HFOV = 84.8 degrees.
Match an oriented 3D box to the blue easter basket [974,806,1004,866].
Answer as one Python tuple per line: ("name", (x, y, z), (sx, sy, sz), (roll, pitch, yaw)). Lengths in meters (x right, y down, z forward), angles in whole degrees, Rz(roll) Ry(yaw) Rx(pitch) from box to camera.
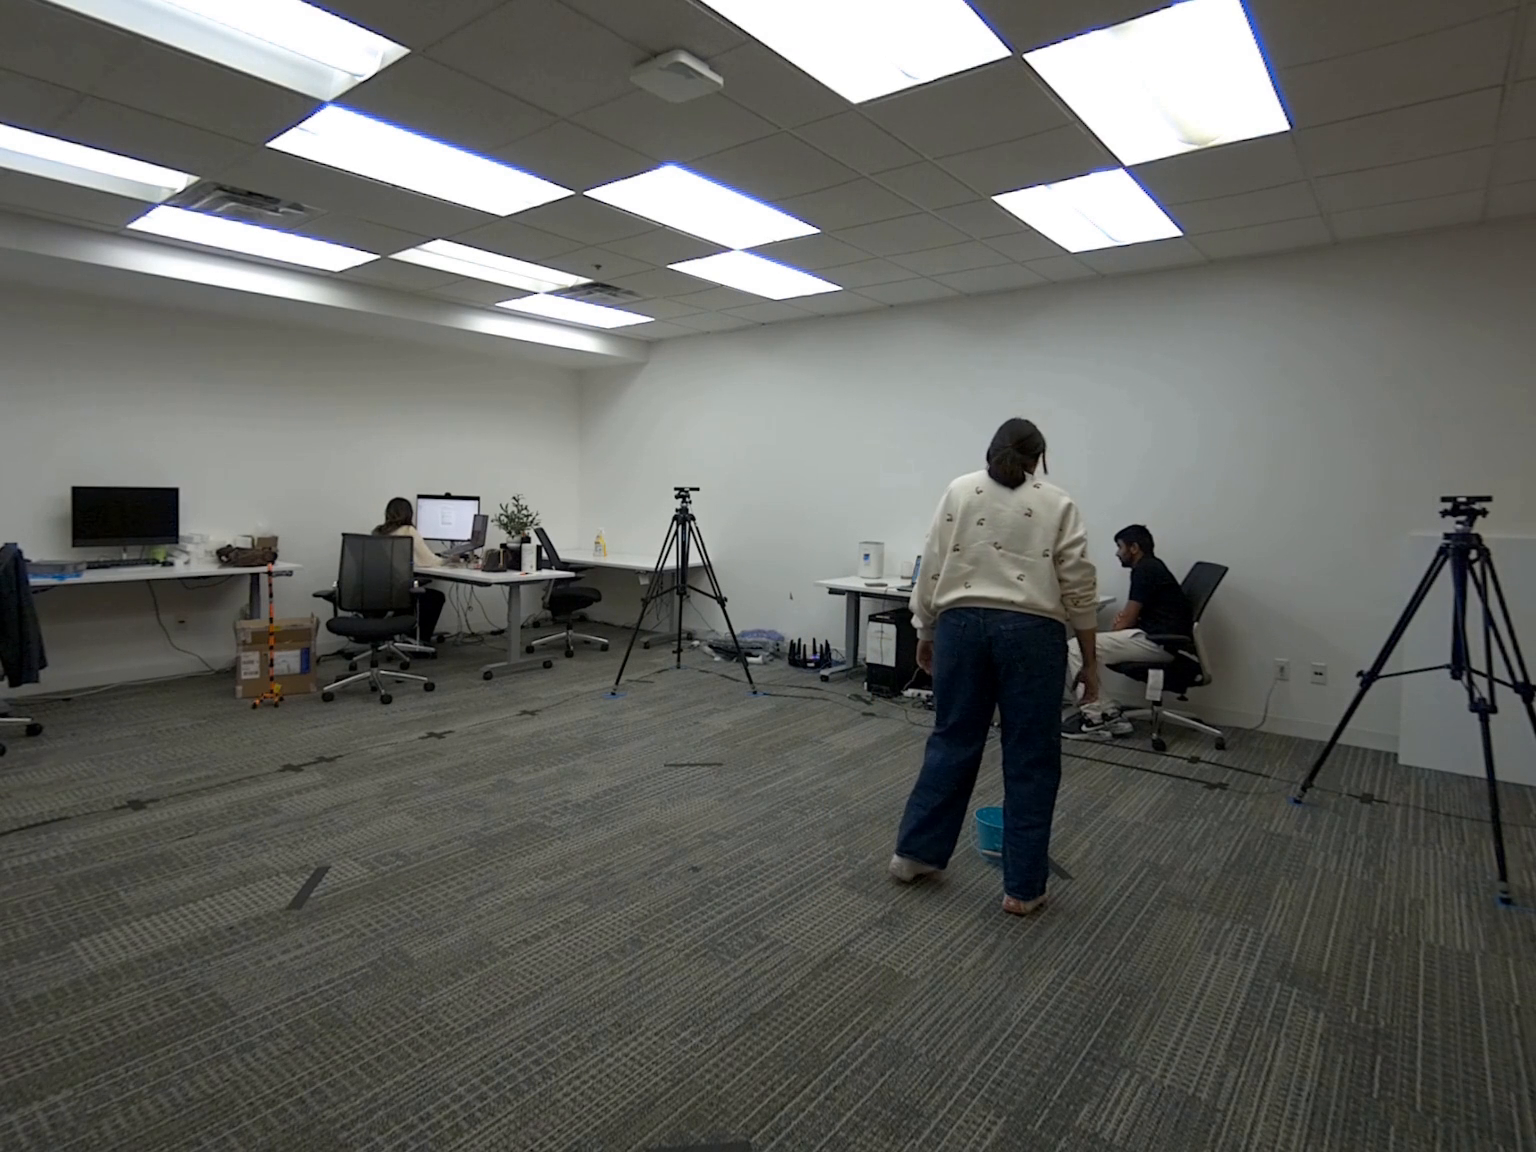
("blue easter basket", (0.899, 0.992, 3.282), (0.243, 0.155, 0.245), (1, 4, -2))
